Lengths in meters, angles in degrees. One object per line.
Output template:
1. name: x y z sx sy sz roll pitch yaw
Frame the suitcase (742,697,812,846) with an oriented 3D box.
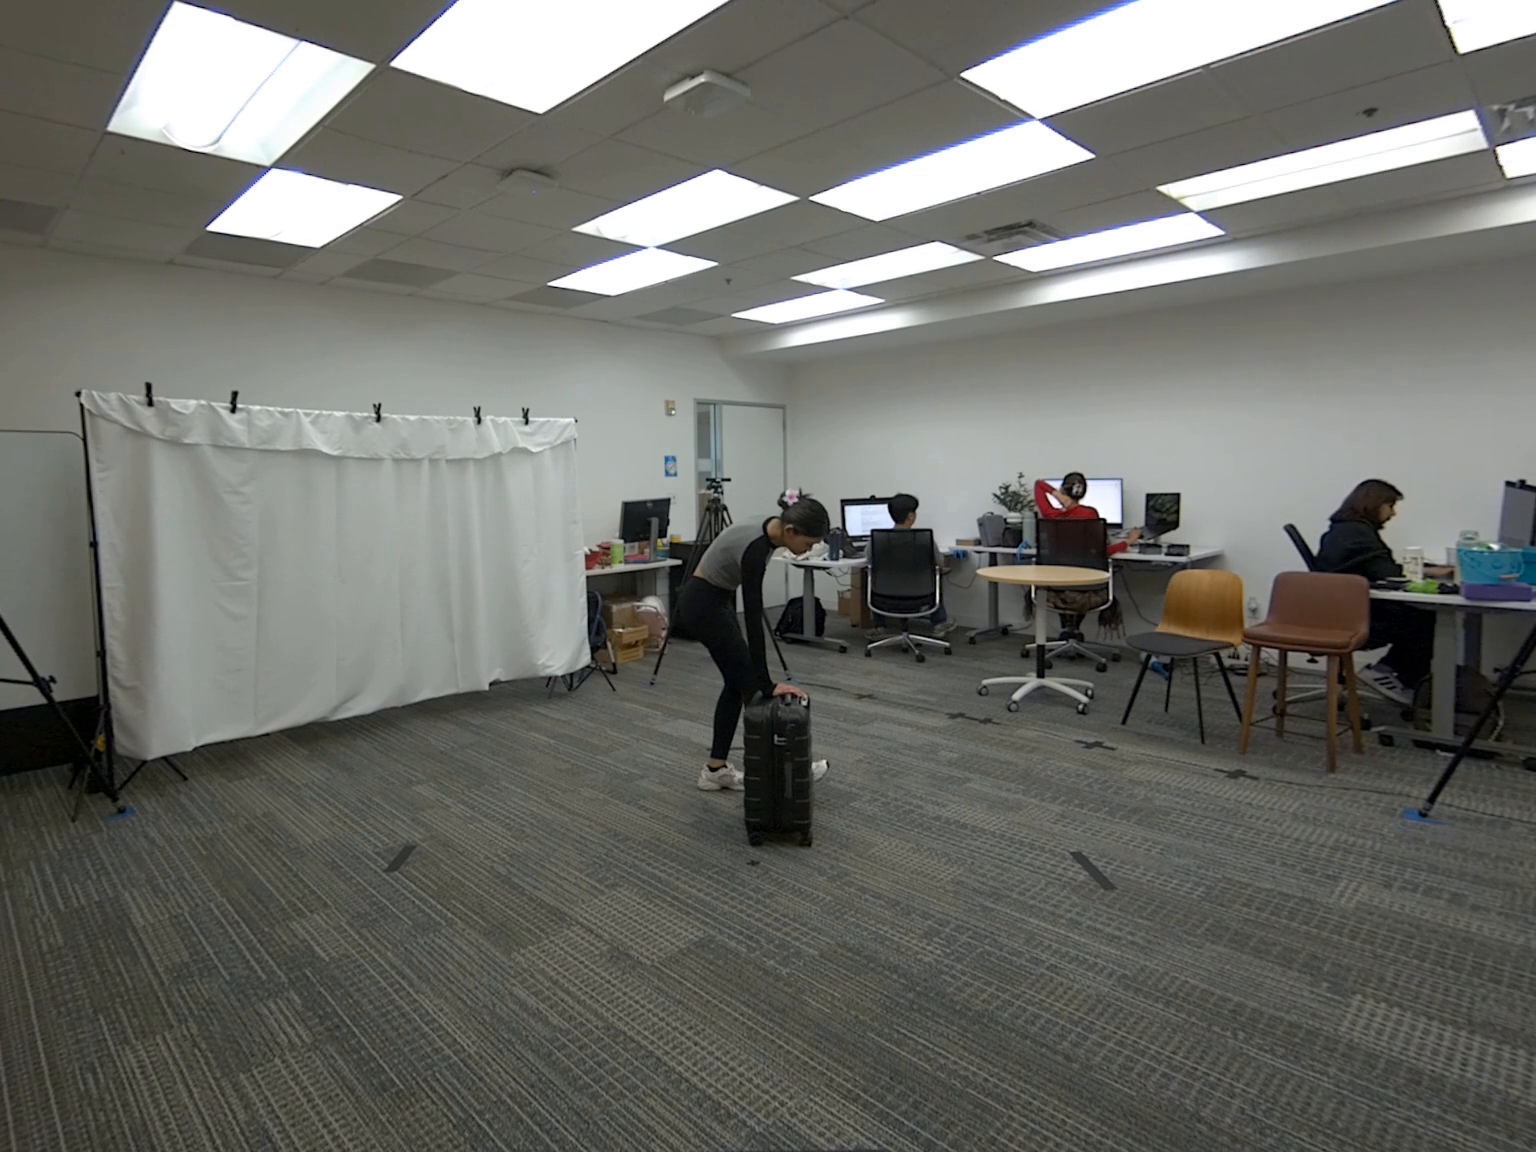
1. suitcase: 0.053 0.736 3.371 0.249 0.547 0.375 -1 4 4
